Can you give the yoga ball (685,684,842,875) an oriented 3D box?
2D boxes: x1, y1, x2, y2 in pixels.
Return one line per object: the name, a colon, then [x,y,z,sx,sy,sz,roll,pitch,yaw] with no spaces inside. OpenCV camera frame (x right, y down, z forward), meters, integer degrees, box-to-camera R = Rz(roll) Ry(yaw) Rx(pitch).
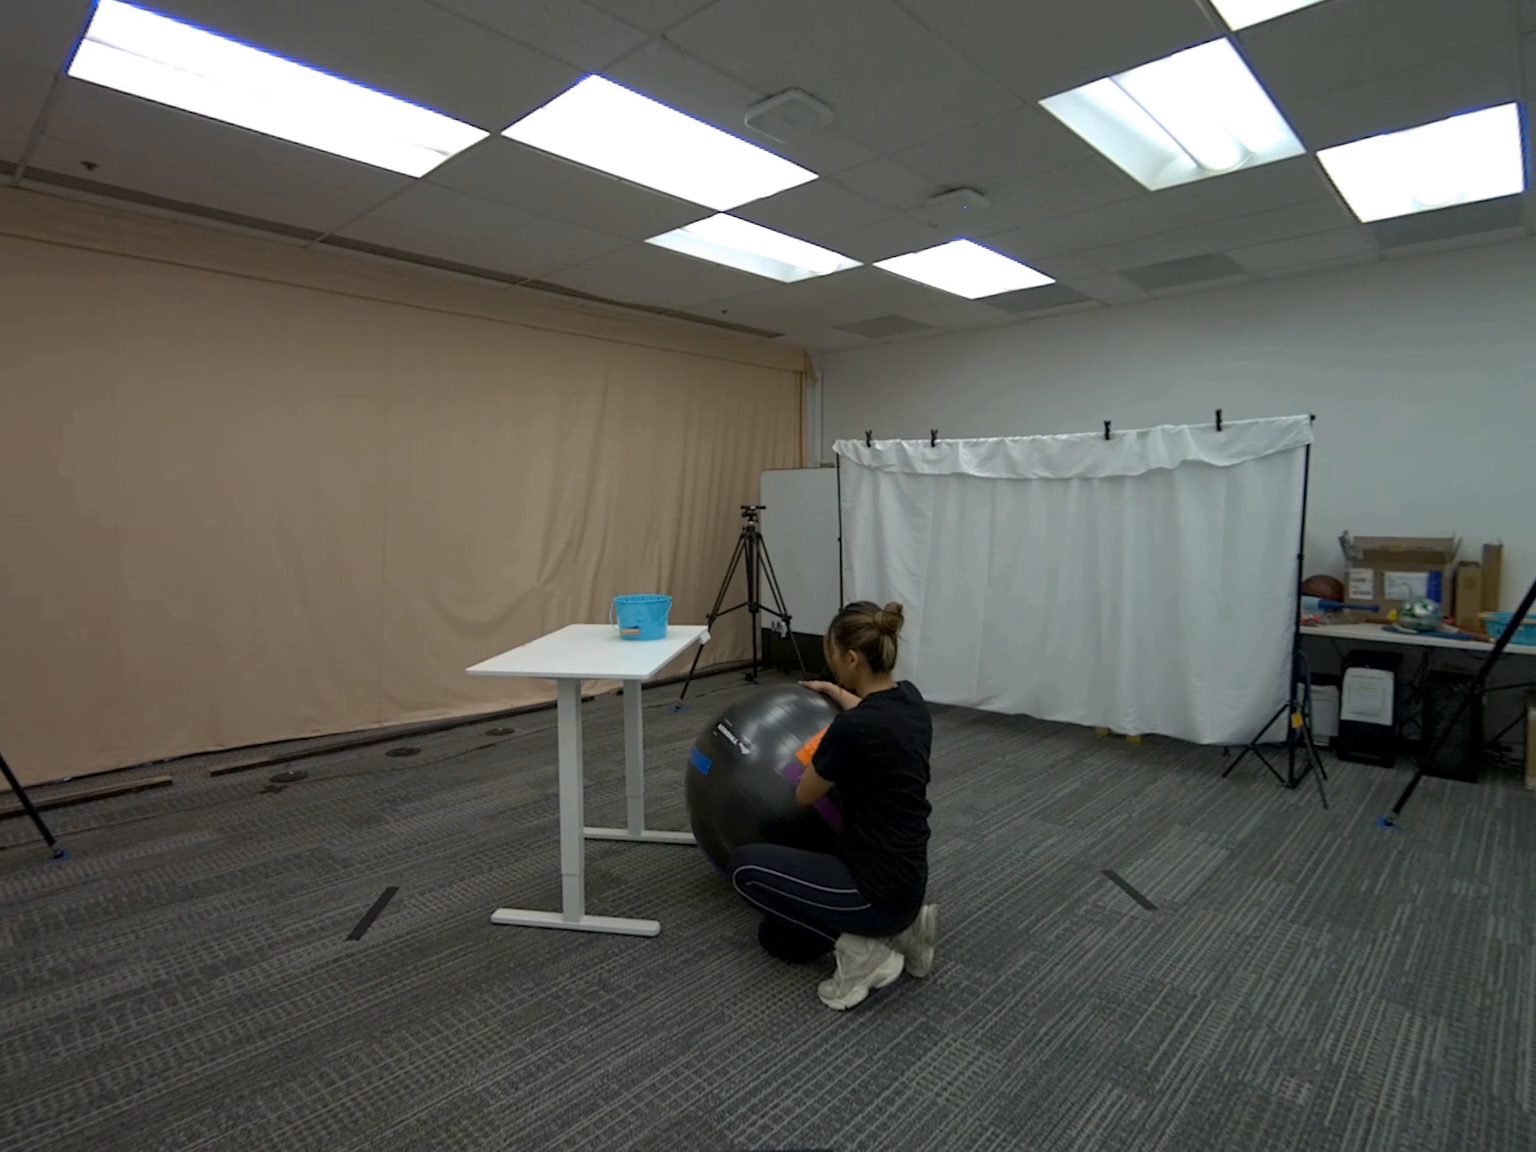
yoga ball: [0.081,0.775,3.038,0.757,0.756,0.761,0,4,-2]
